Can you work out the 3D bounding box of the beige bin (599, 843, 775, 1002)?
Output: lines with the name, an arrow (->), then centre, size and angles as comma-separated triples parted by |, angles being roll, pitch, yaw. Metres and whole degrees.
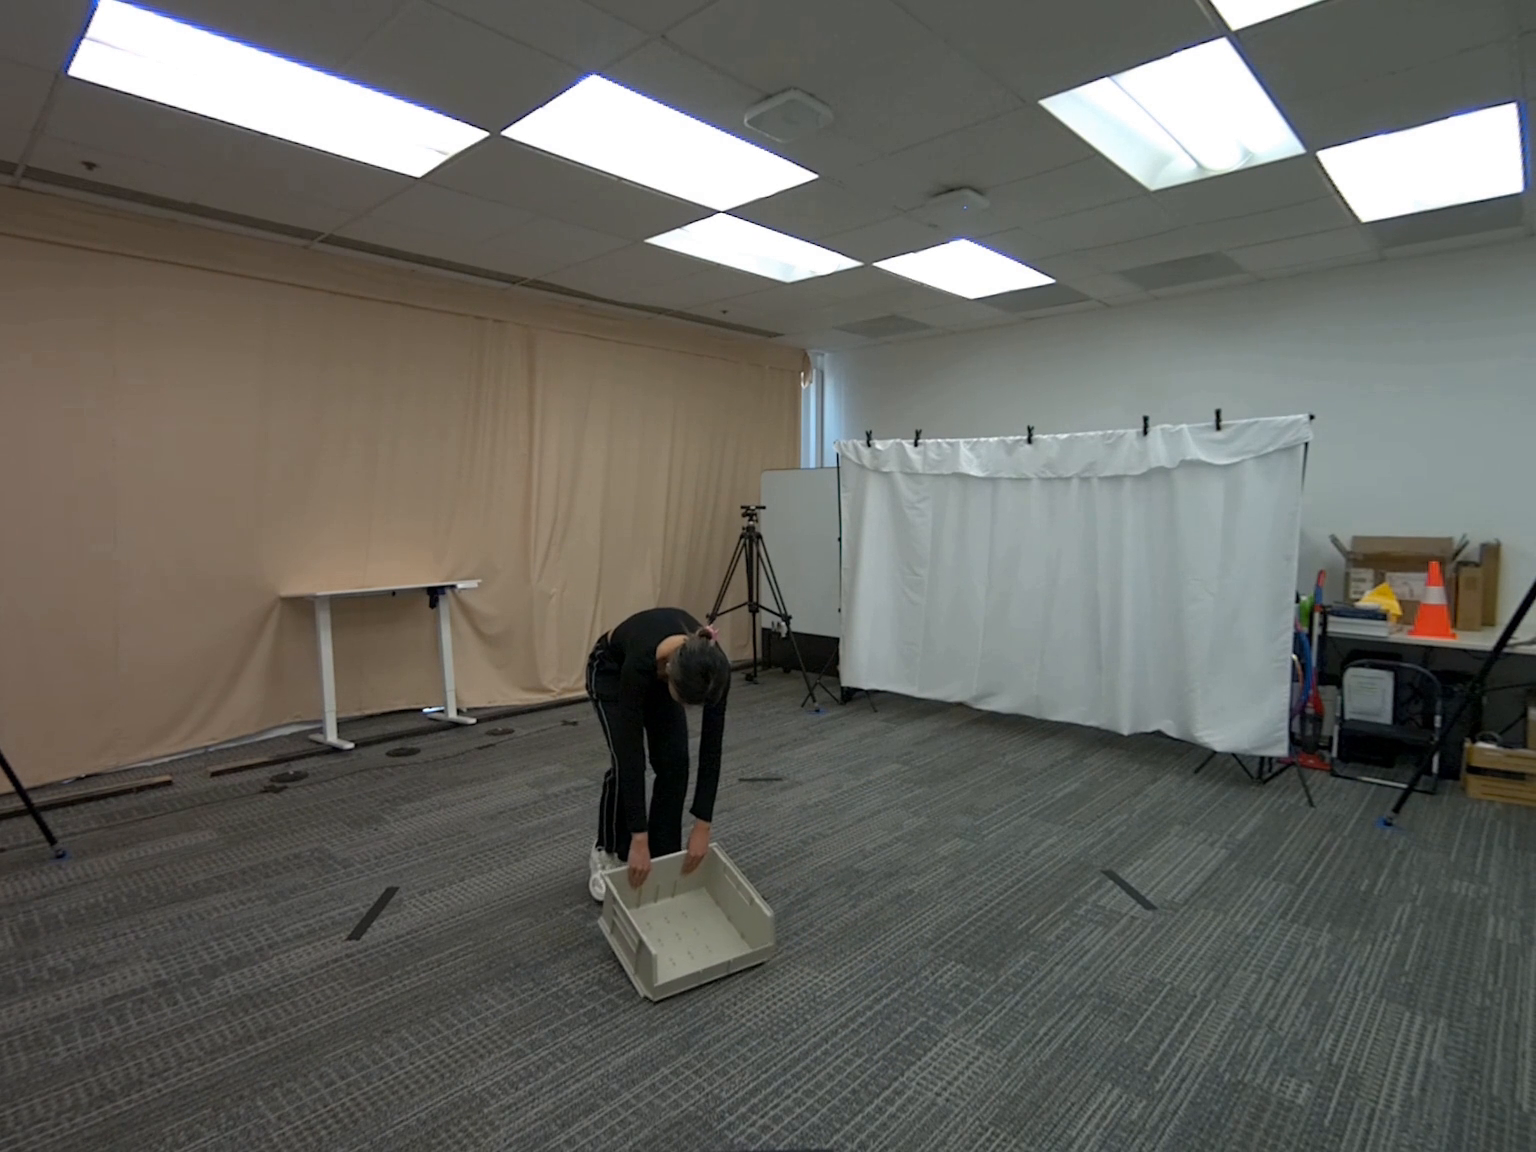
beige bin -> -0.246, 1.050, 2.574 | 0.410, 0.187, 0.391 | -4, 23, -34
